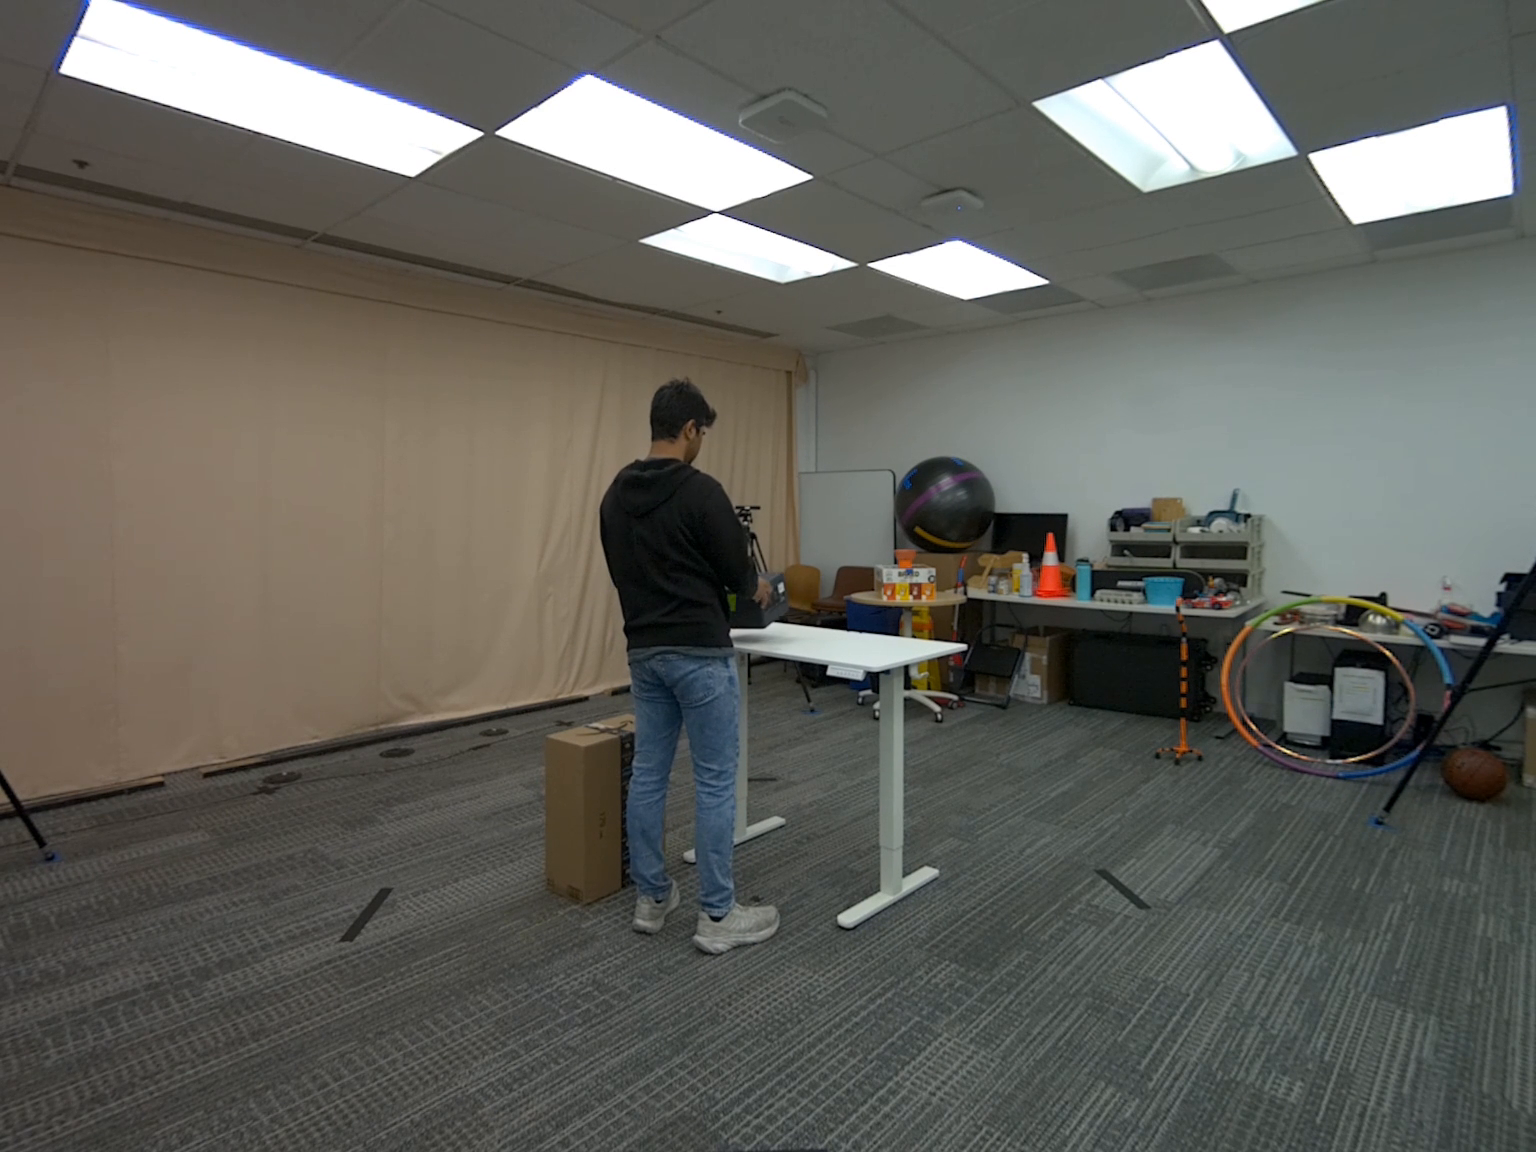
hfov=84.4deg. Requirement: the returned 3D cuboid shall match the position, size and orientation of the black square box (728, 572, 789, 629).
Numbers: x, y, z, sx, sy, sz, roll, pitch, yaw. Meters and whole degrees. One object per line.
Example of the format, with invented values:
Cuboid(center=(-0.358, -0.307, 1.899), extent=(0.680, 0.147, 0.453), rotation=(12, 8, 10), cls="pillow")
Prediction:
Cuboid(center=(-0.079, 0.092, 3.211), extent=(0.234, 0.154, 0.213), rotation=(-2, 15, 27), cls="black square box")
